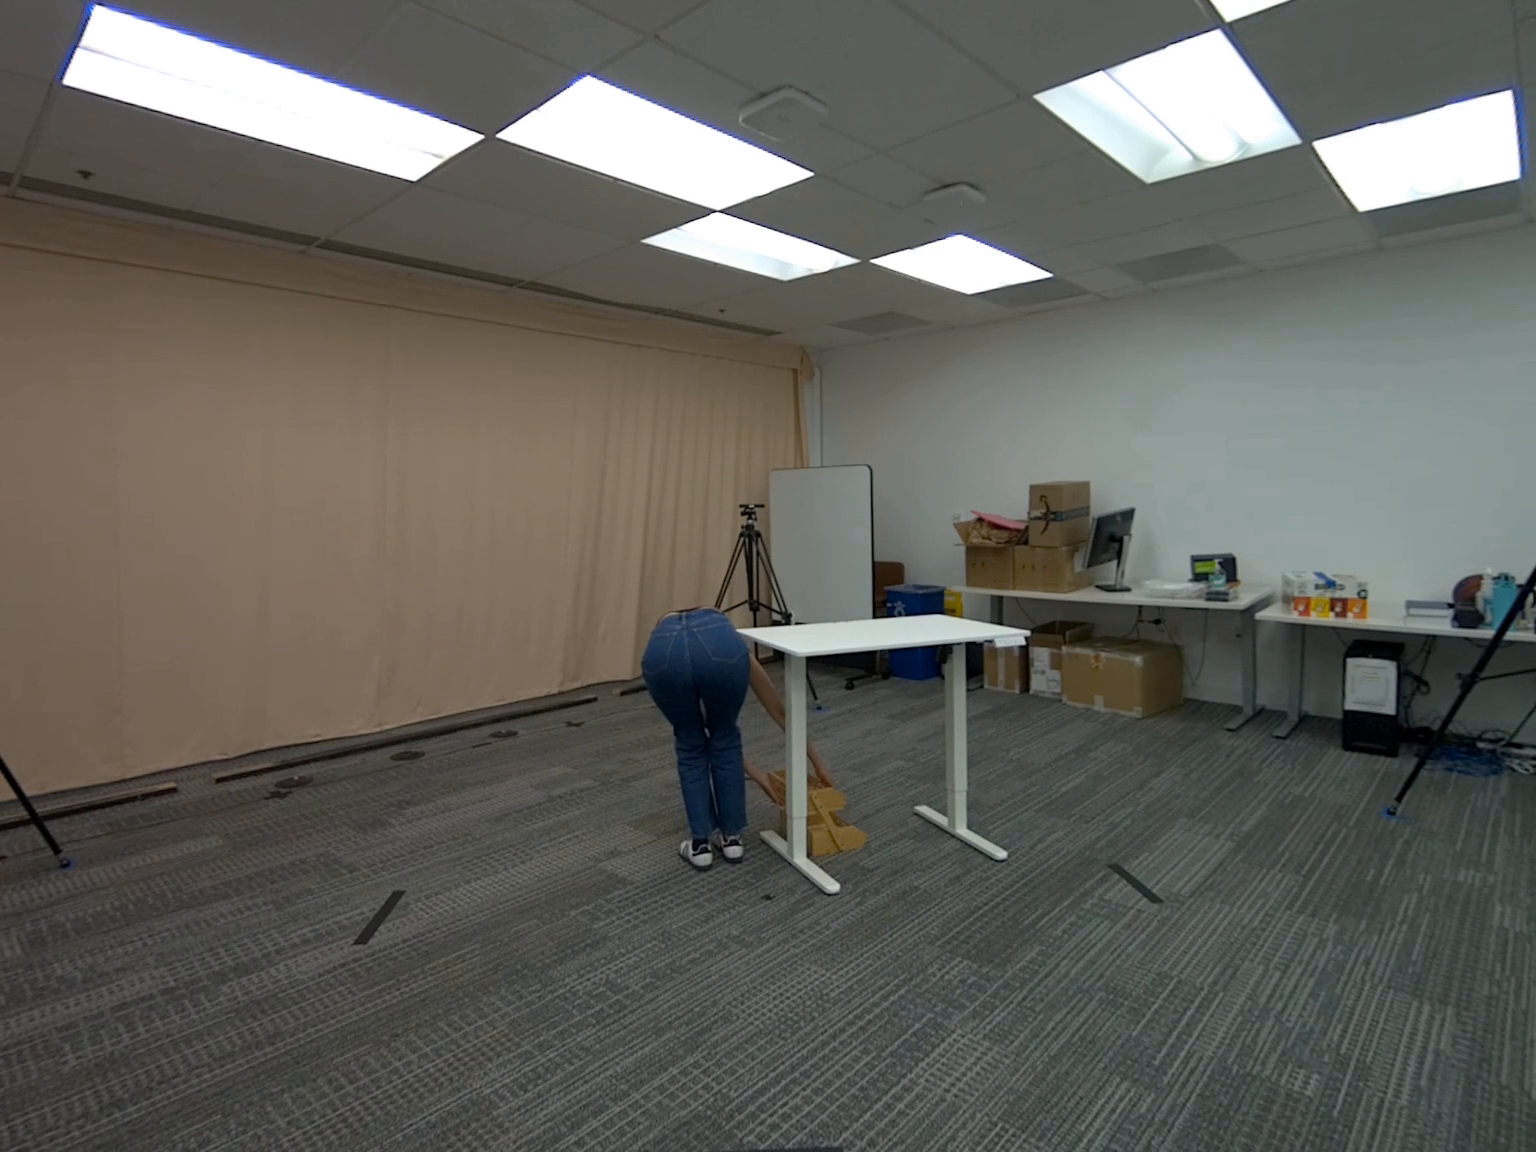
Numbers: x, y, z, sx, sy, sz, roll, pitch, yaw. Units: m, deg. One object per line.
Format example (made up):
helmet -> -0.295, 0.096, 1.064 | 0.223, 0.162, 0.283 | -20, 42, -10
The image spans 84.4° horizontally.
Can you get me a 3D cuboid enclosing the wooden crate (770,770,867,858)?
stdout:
wooden crate -> 0.205, 0.957, 3.486 | 0.295, 0.273, 0.332 | -3, 4, -23
